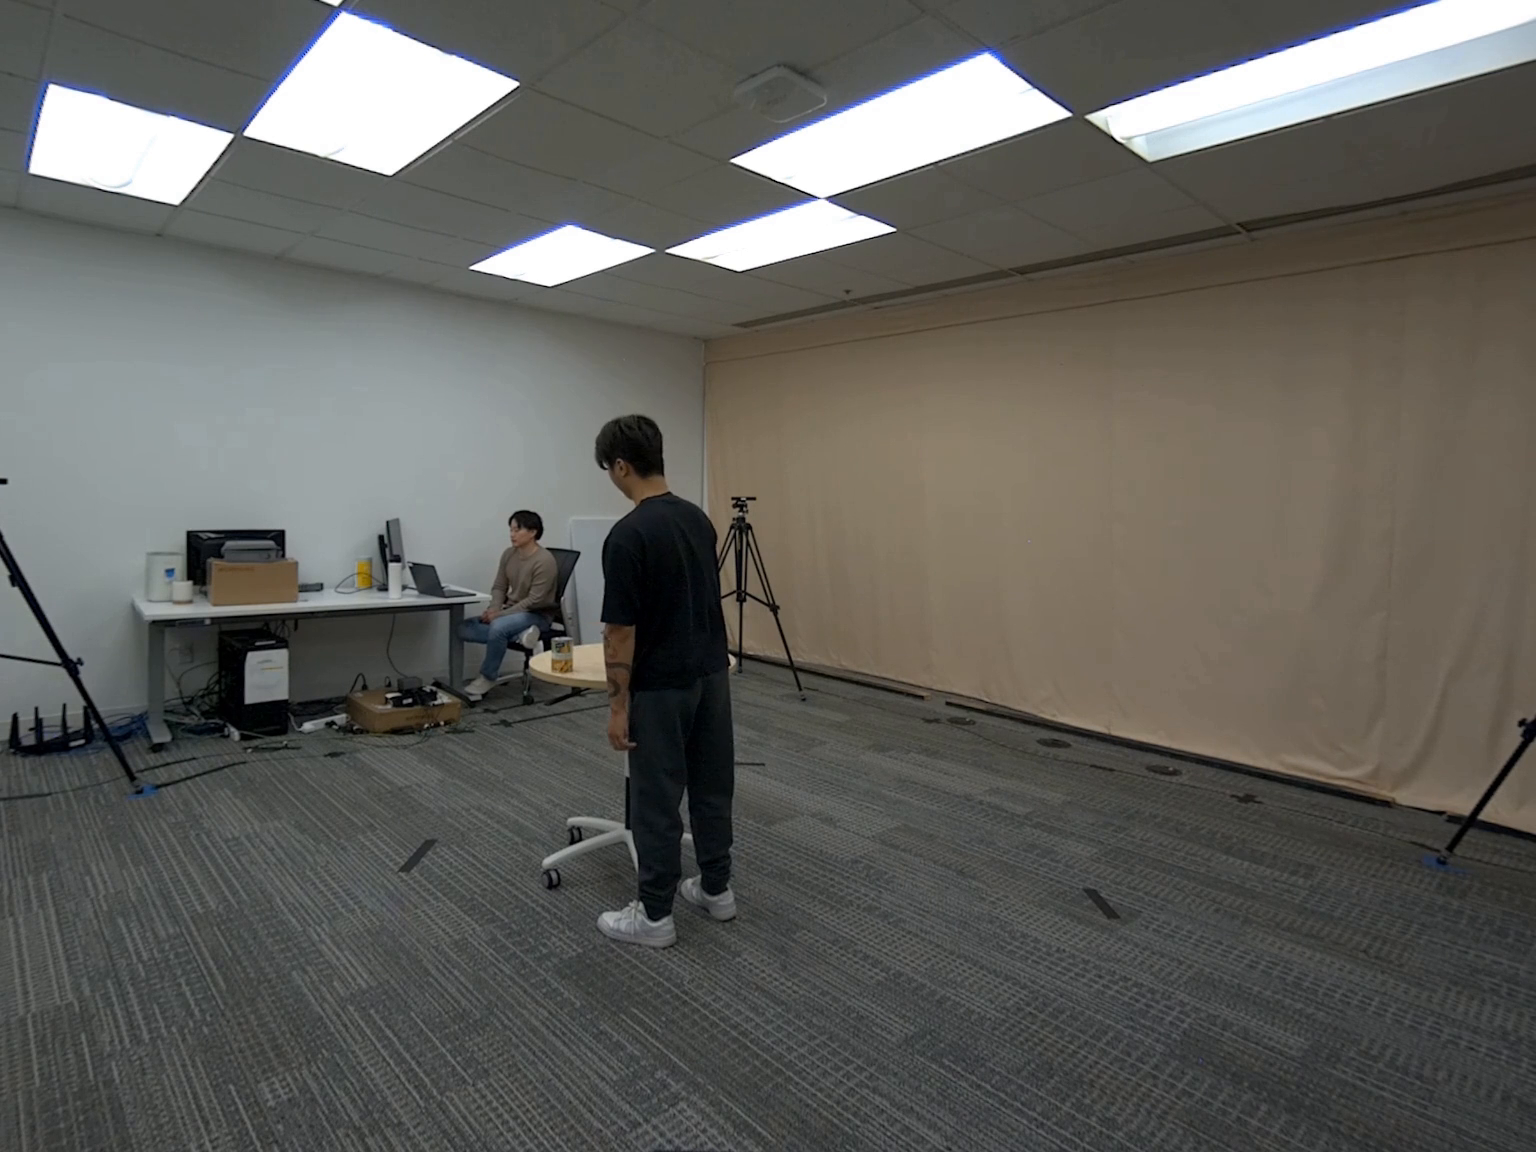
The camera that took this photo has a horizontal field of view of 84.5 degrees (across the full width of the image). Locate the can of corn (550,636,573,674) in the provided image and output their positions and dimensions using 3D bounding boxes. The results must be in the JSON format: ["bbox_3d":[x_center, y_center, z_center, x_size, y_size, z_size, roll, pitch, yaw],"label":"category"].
[{"bbox_3d":[-0.724,0.273,2.911,0.074,0.111,0.074,1,4,-1],"label":"can of corn"}]
